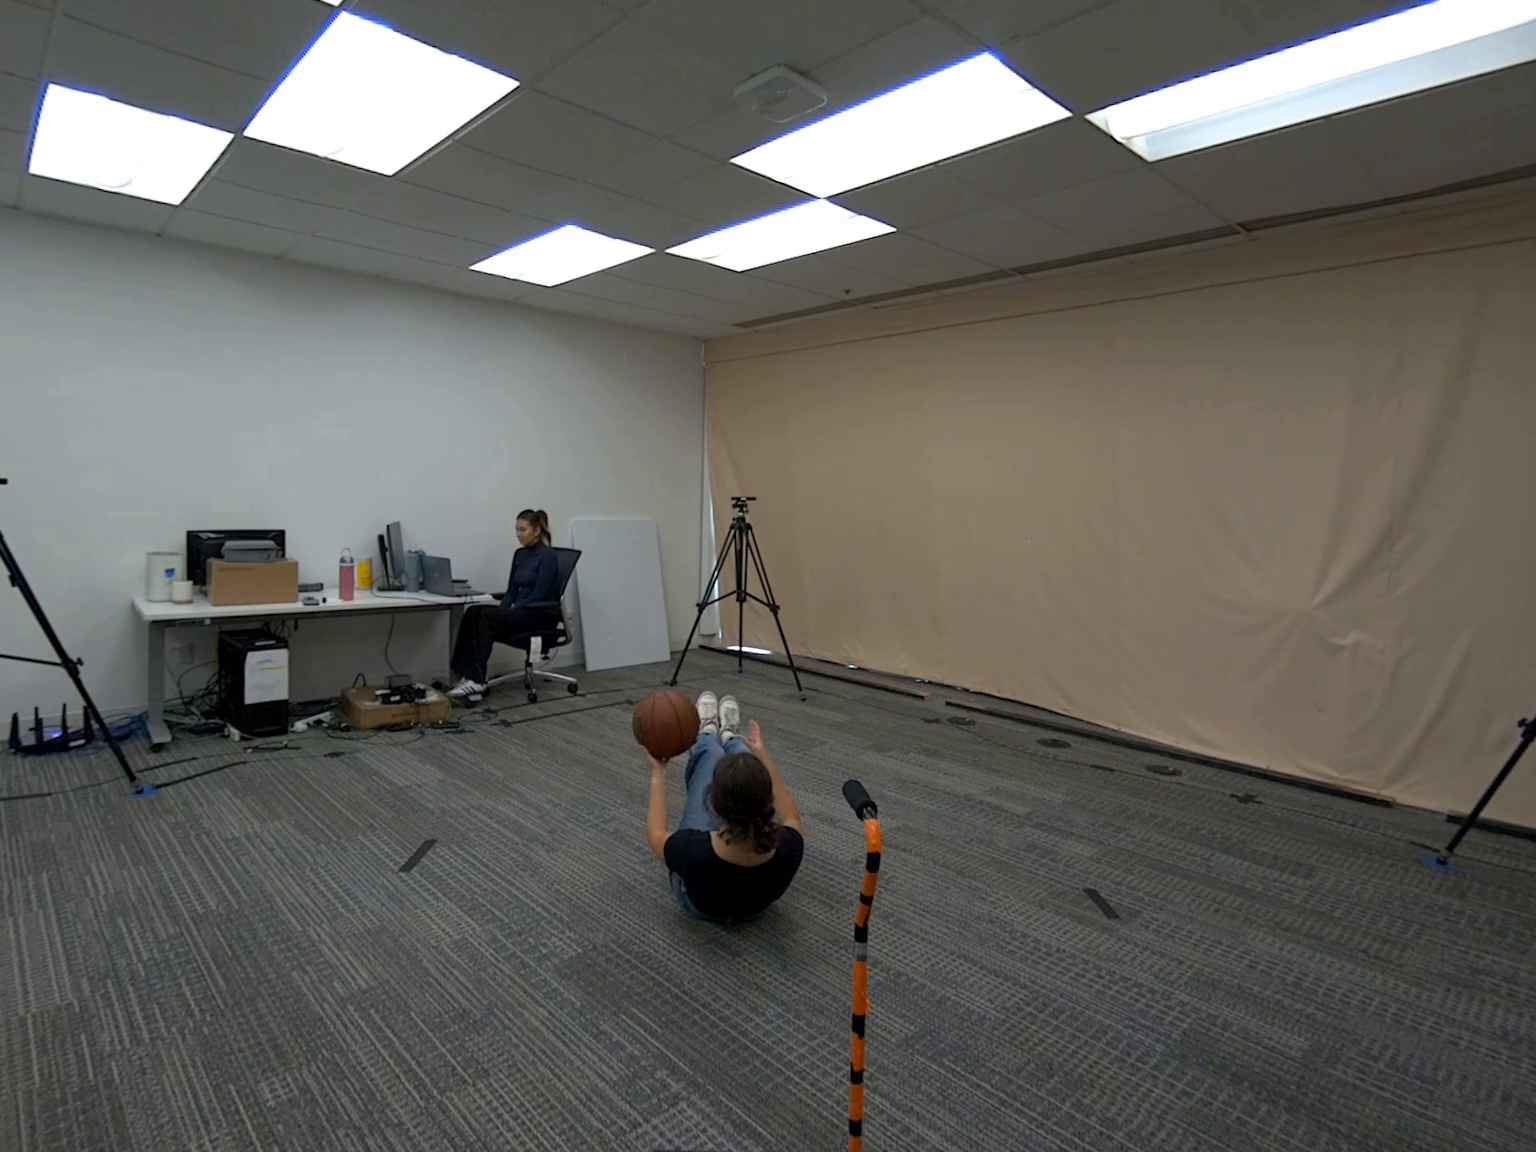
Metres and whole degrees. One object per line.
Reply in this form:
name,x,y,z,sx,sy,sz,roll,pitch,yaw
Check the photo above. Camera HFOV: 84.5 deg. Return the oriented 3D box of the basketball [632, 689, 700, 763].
basketball,-0.354,0.533,2.986,0.236,0.235,0.237,1,4,-1
